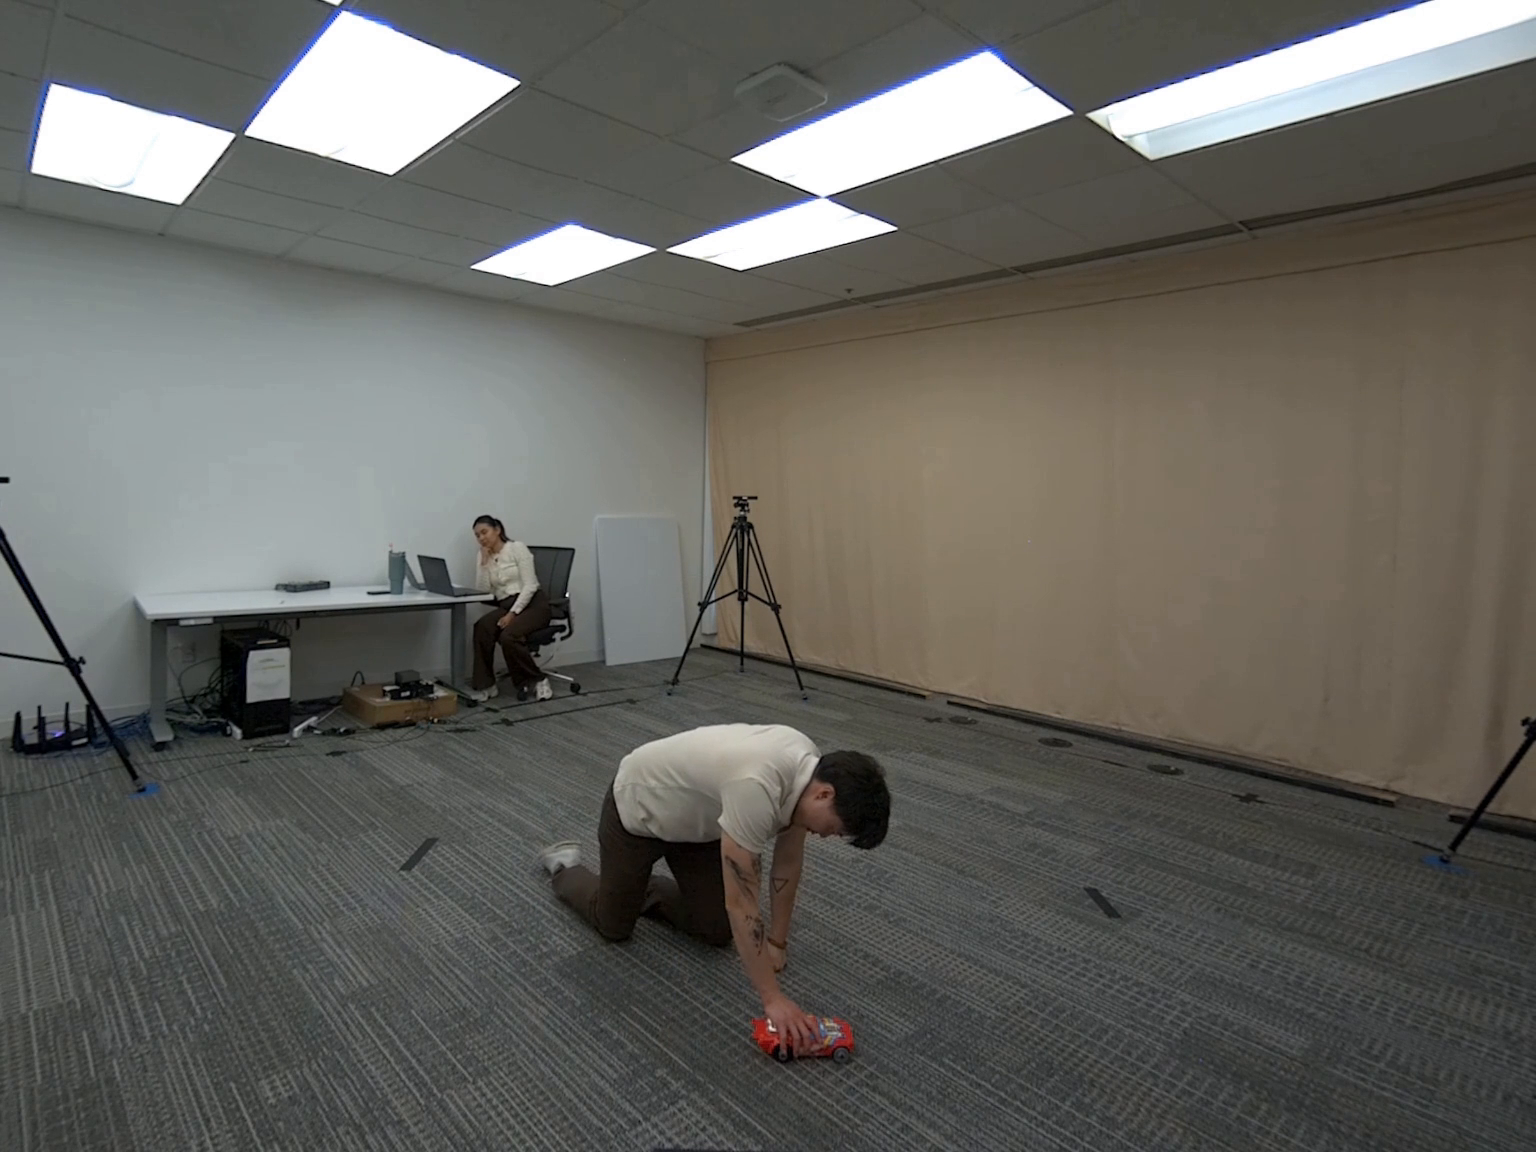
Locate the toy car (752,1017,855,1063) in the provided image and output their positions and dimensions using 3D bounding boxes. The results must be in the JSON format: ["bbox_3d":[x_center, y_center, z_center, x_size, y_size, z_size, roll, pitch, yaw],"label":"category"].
[{"bbox_3d":[0.081,1.172,2.127,0.254,0.083,0.131,11,4,-1],"label":"toy car"}]
